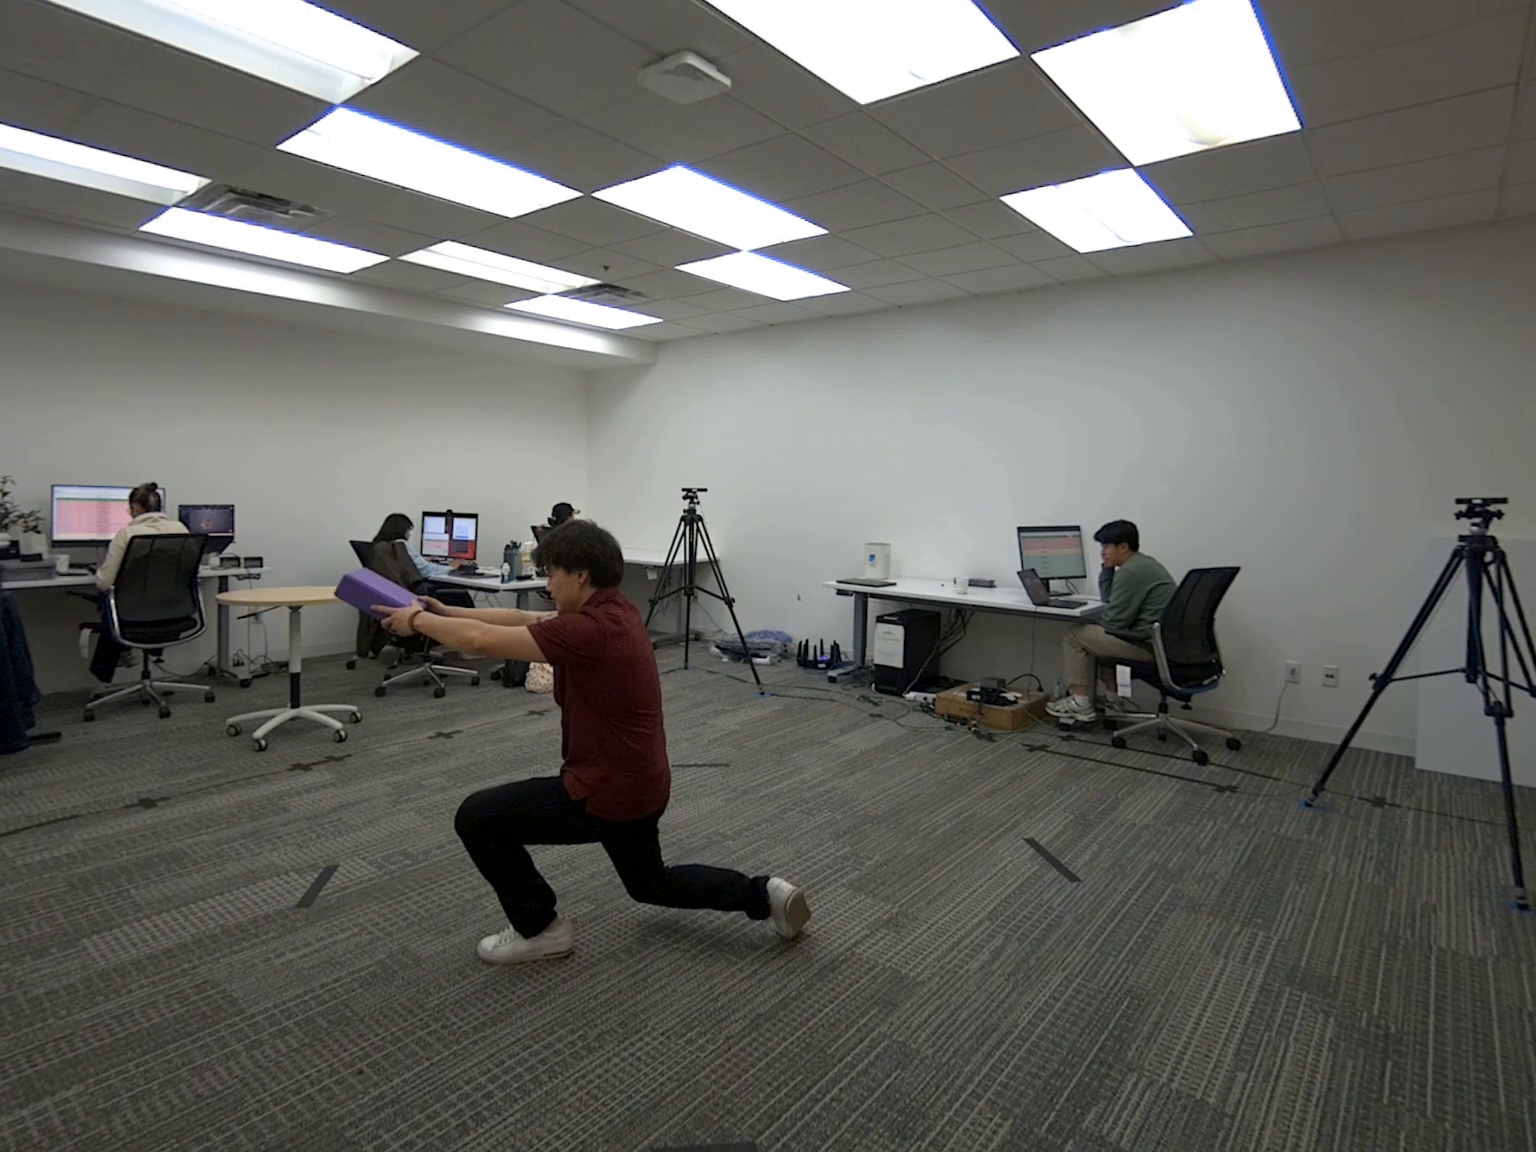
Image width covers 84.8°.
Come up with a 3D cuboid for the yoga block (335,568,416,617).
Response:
[{"bbox_3d":[-1.143,0.057,2.514,0.228,0.076,0.150,29,4,-6],"label":"yoga block"}]
